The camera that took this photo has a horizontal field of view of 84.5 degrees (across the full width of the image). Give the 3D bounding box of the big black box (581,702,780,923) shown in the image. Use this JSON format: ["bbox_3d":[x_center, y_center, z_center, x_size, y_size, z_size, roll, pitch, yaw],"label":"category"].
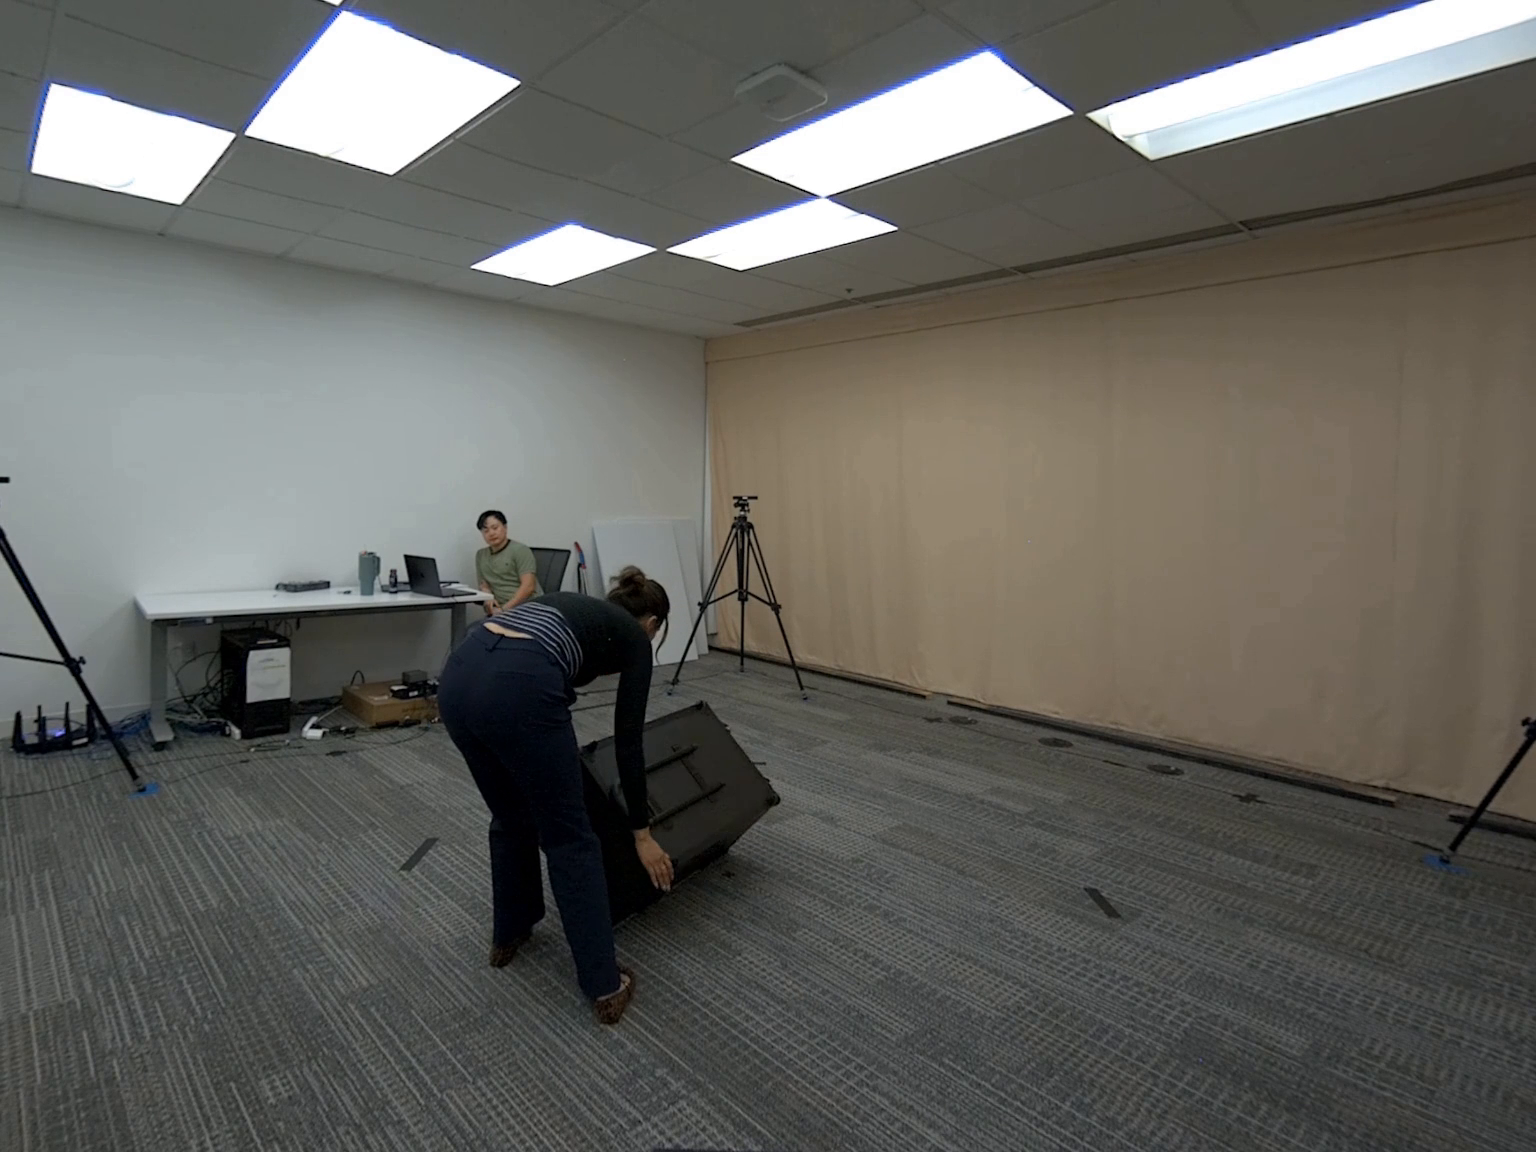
[{"bbox_3d":[-0.372,0.808,3.015,0.531,0.396,0.846,48,23,17],"label":"big black box"}]
